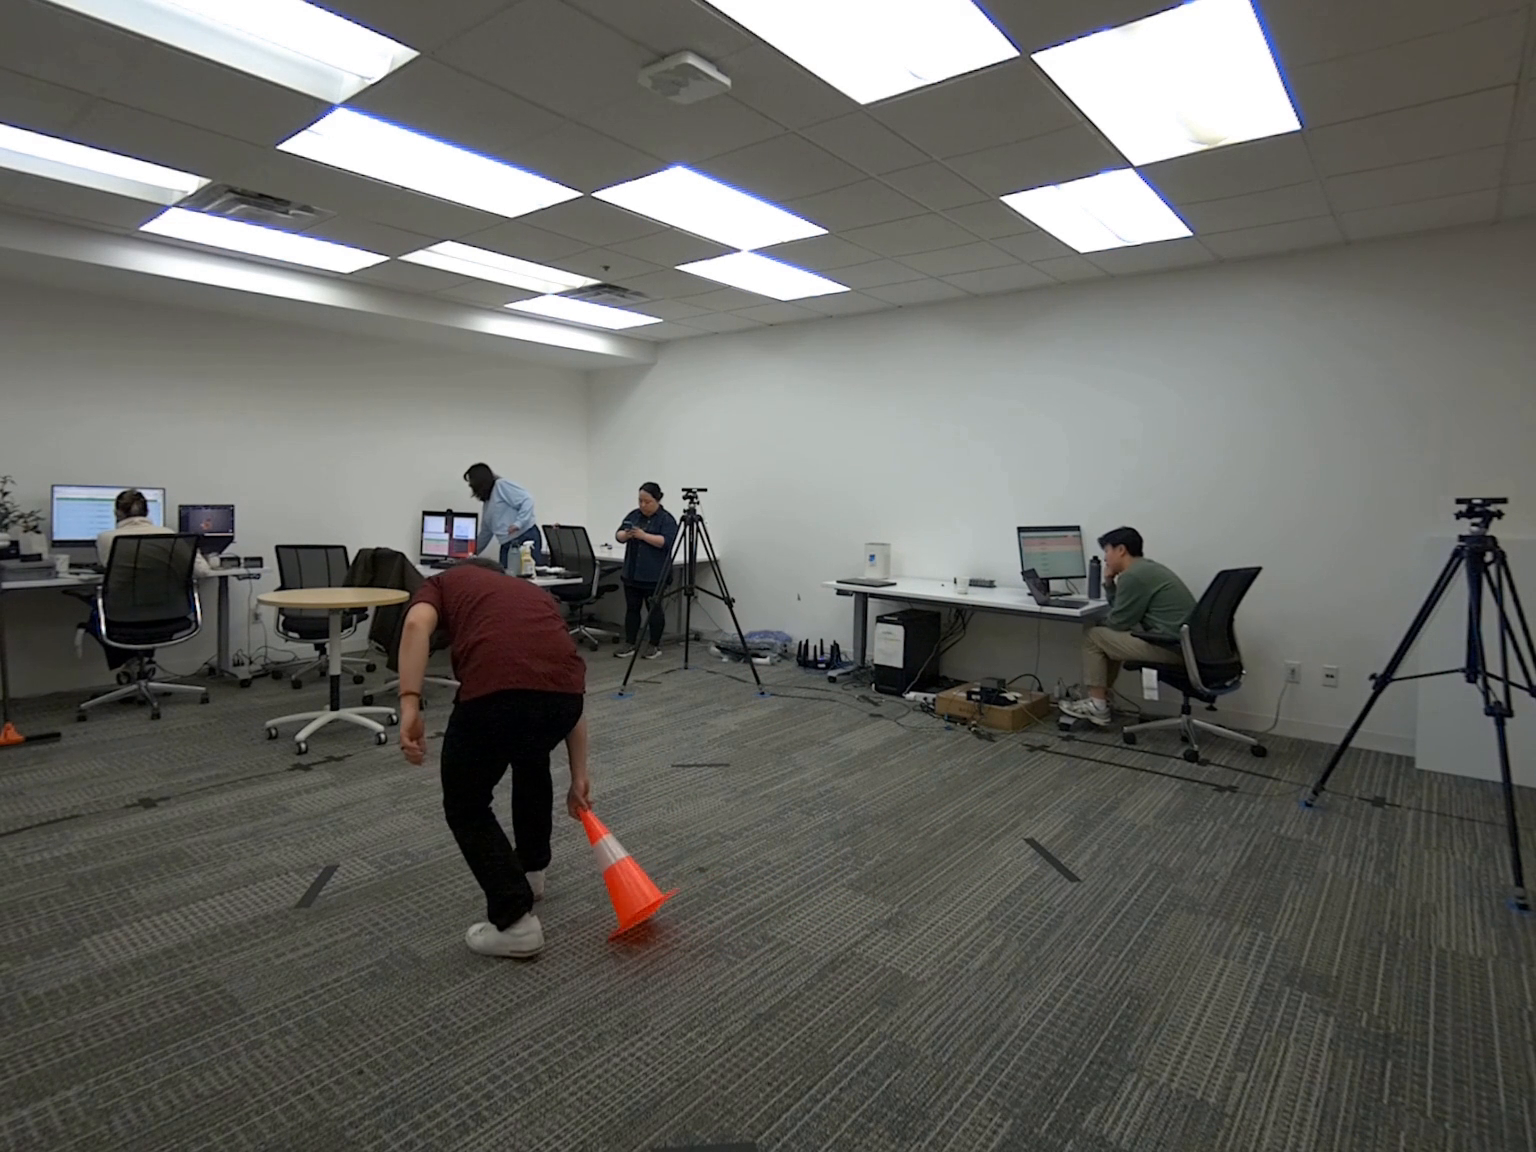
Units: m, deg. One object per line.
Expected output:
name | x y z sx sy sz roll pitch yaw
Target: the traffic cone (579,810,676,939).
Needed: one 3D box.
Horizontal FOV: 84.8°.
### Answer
traffic cone | -0.506 0.908 2.694 0.200 0.395 0.202 -16 -30 -44
